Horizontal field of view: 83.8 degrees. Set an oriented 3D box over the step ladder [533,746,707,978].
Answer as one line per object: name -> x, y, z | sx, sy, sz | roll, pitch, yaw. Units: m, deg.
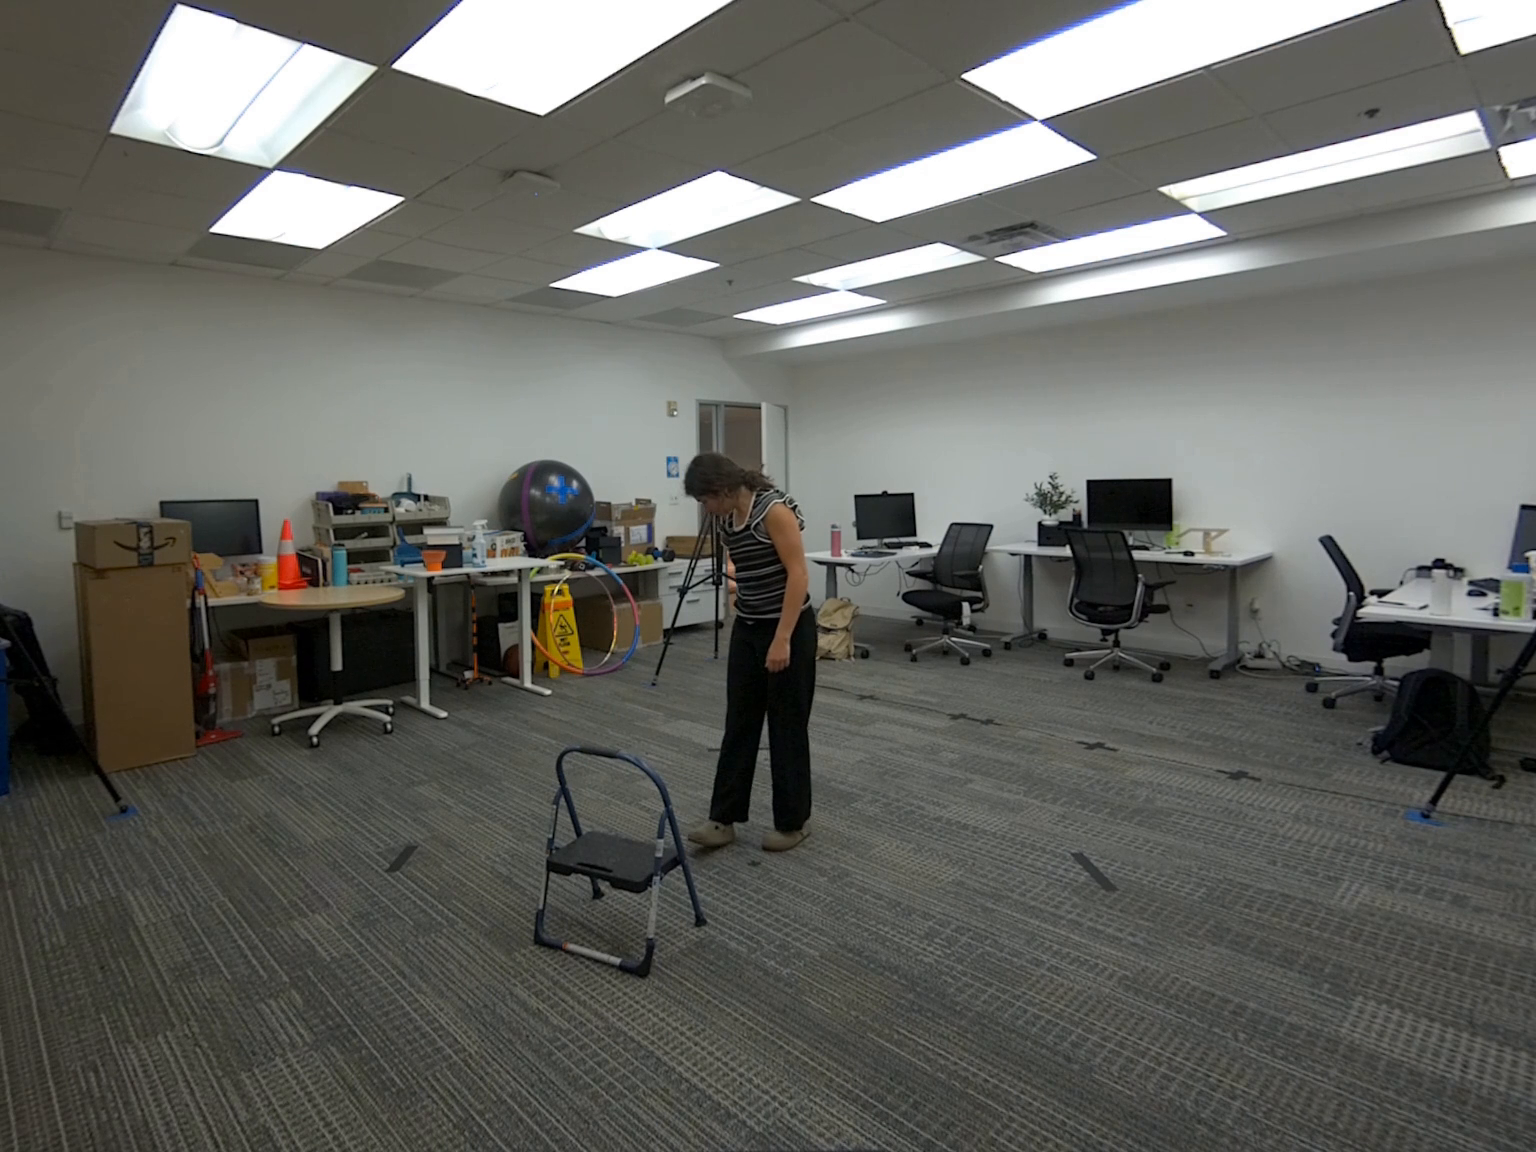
step ladder -> -0.461, 0.808, 2.631 | 0.441, 0.604, 0.342 | 1, 5, 26
